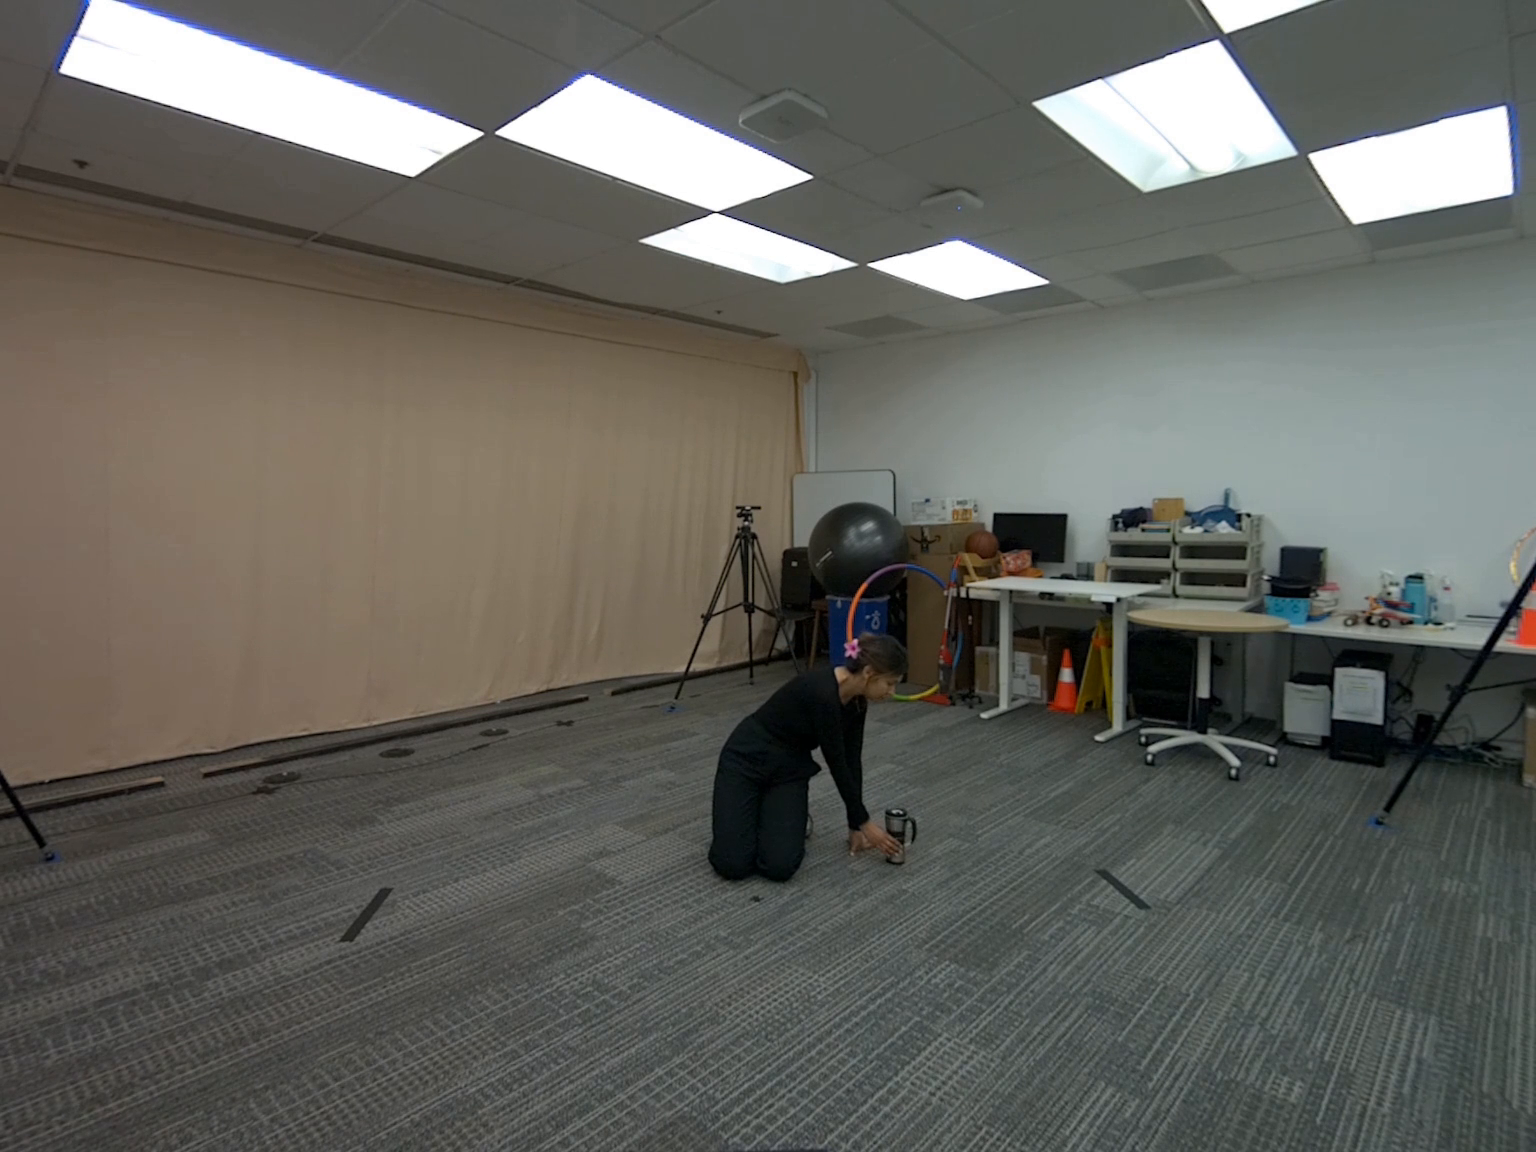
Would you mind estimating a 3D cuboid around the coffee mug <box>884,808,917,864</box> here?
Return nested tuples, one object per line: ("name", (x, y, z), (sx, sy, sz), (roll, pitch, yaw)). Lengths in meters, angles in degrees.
("coffee mug", (0.518, 1.026, 3.272), (0.085, 0.203, 0.125), (1, -3, -33))
